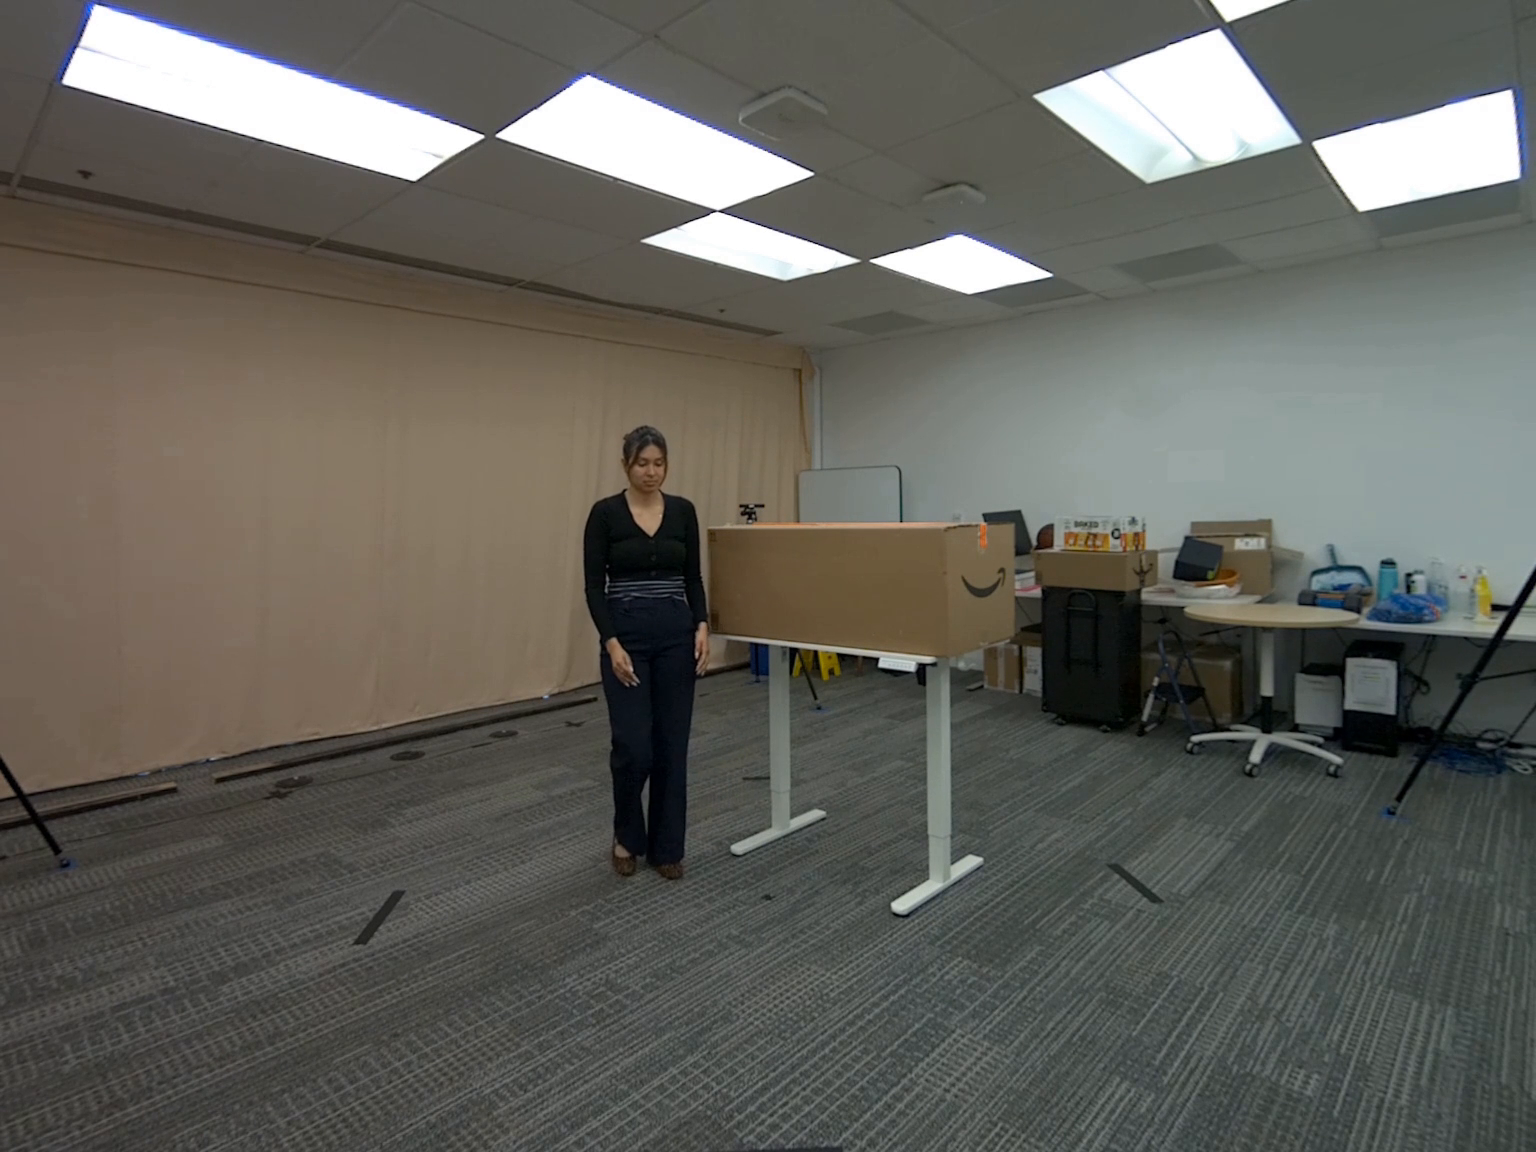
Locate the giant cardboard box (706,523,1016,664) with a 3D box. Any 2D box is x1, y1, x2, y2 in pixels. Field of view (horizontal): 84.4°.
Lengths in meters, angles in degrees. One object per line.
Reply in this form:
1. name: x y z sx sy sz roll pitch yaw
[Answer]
1. giant cardboard box: 0.339 0.018 3.234 1.059 0.425 0.560 2 4 40
